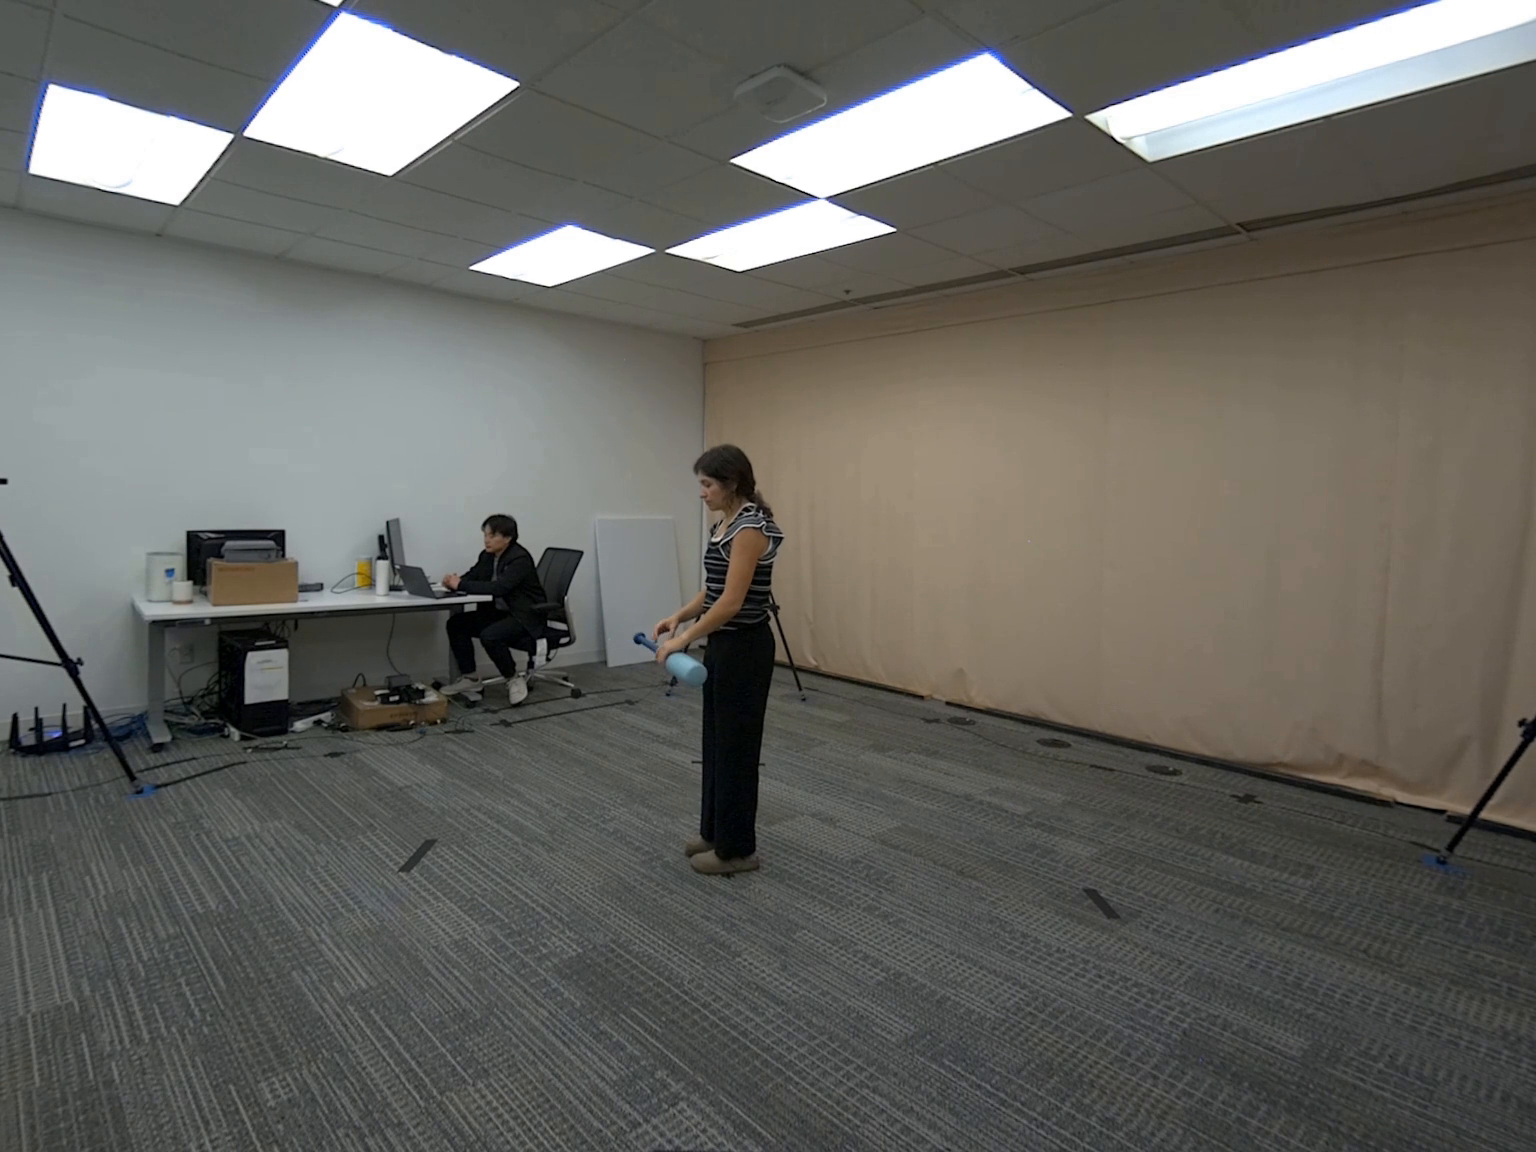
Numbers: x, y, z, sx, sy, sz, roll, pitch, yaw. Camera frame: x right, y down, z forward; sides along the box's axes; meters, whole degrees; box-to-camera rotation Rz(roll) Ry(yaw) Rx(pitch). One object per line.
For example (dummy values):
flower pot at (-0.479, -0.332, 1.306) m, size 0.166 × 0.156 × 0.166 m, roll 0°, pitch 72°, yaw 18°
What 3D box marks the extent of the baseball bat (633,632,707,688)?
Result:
baseball bat at (-0.385, 0.301, 3.135) m, size 0.087 × 0.088 × 0.557 m, roll -1°, pitch 10°, yaw -30°
